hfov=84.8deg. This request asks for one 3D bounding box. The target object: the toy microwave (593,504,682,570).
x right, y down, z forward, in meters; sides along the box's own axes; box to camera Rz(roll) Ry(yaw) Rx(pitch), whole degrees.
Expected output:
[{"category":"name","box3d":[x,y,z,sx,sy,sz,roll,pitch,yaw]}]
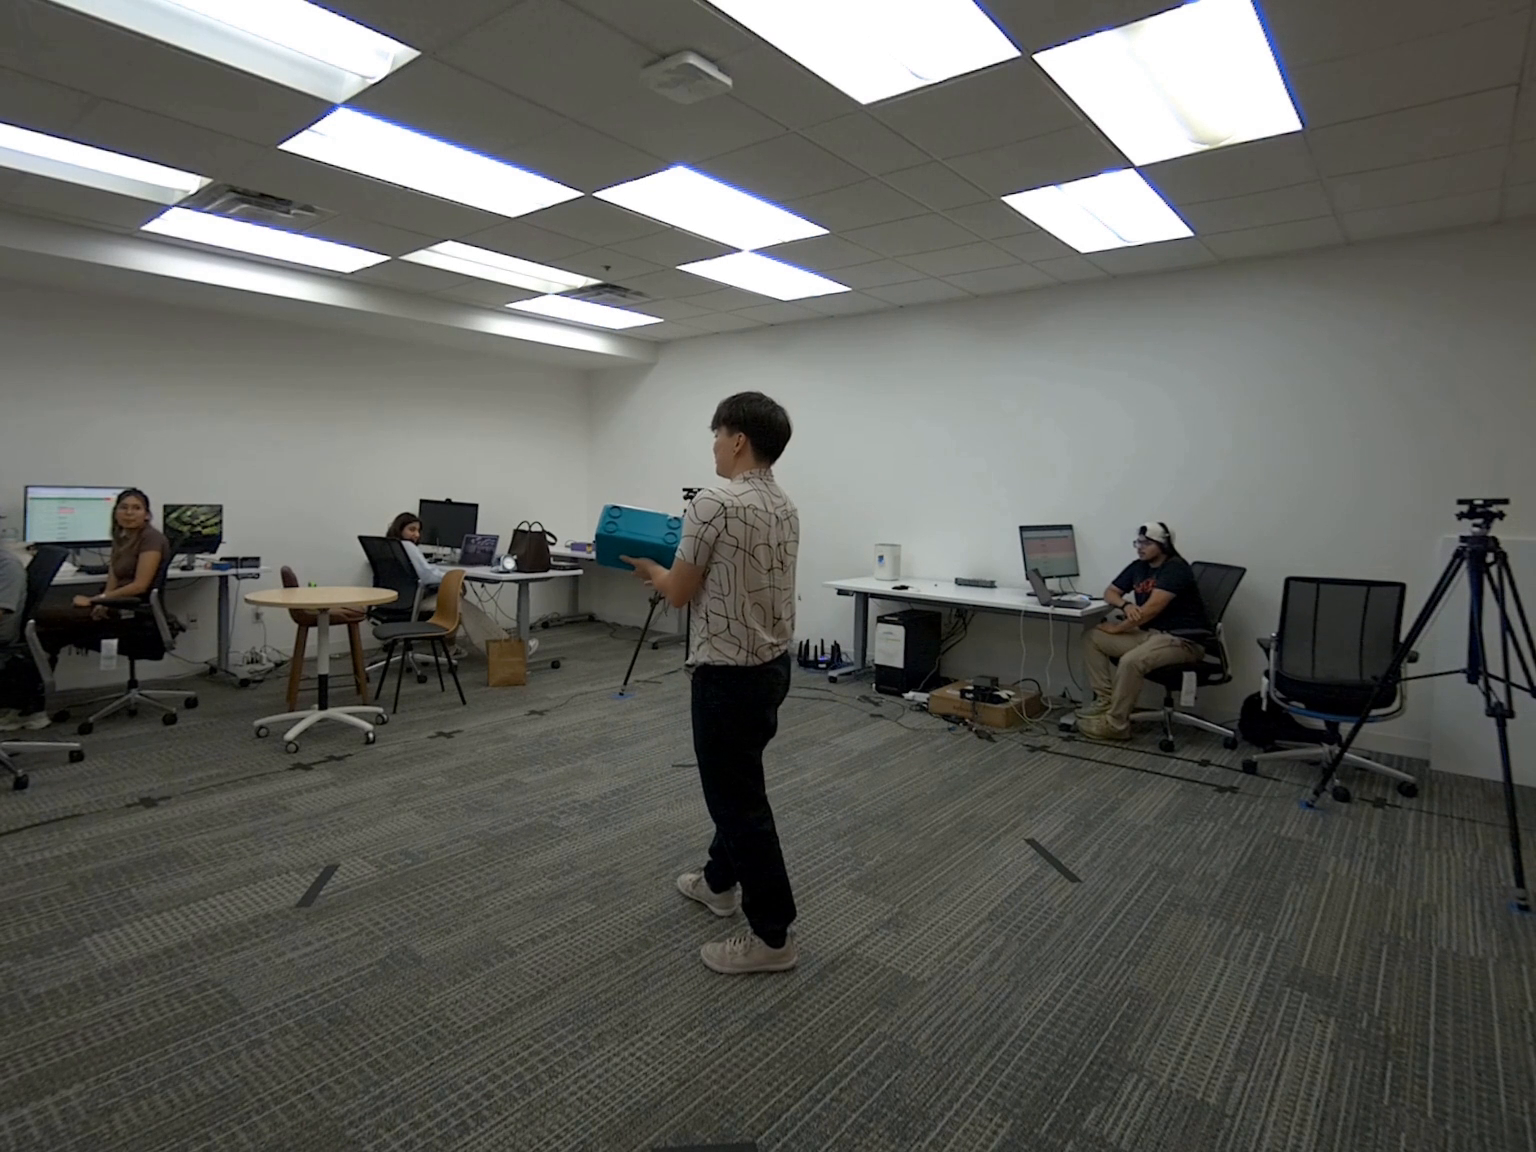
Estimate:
[{"category":"toy microwave","box3d":[-0.415,-0.122,2.717,0.286,0.156,0.180,9,-36,0]}]
